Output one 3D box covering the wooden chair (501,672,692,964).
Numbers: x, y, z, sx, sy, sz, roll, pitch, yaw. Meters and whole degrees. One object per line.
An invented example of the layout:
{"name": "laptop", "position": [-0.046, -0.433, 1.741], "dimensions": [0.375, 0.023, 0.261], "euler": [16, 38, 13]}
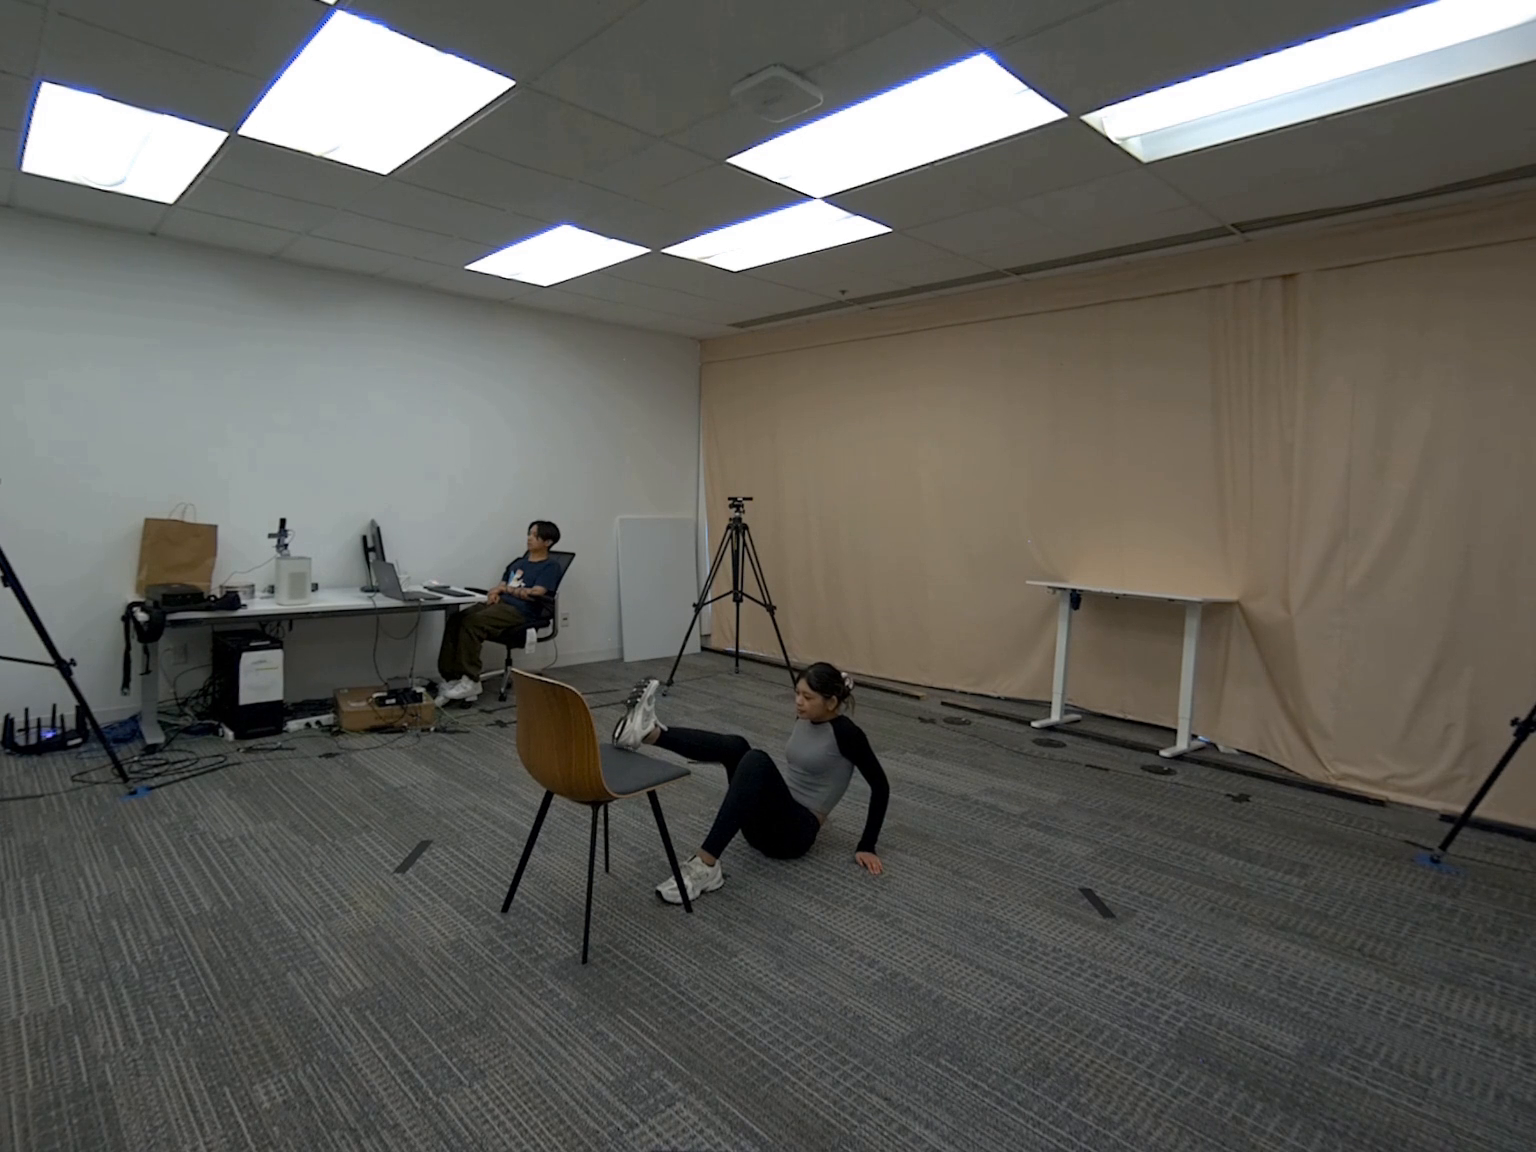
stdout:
{"name": "wooden chair", "position": [-0.557, 0.698, 2.785], "dimensions": [0.490, 0.873, 0.513], "euler": [4, 9, 41]}
